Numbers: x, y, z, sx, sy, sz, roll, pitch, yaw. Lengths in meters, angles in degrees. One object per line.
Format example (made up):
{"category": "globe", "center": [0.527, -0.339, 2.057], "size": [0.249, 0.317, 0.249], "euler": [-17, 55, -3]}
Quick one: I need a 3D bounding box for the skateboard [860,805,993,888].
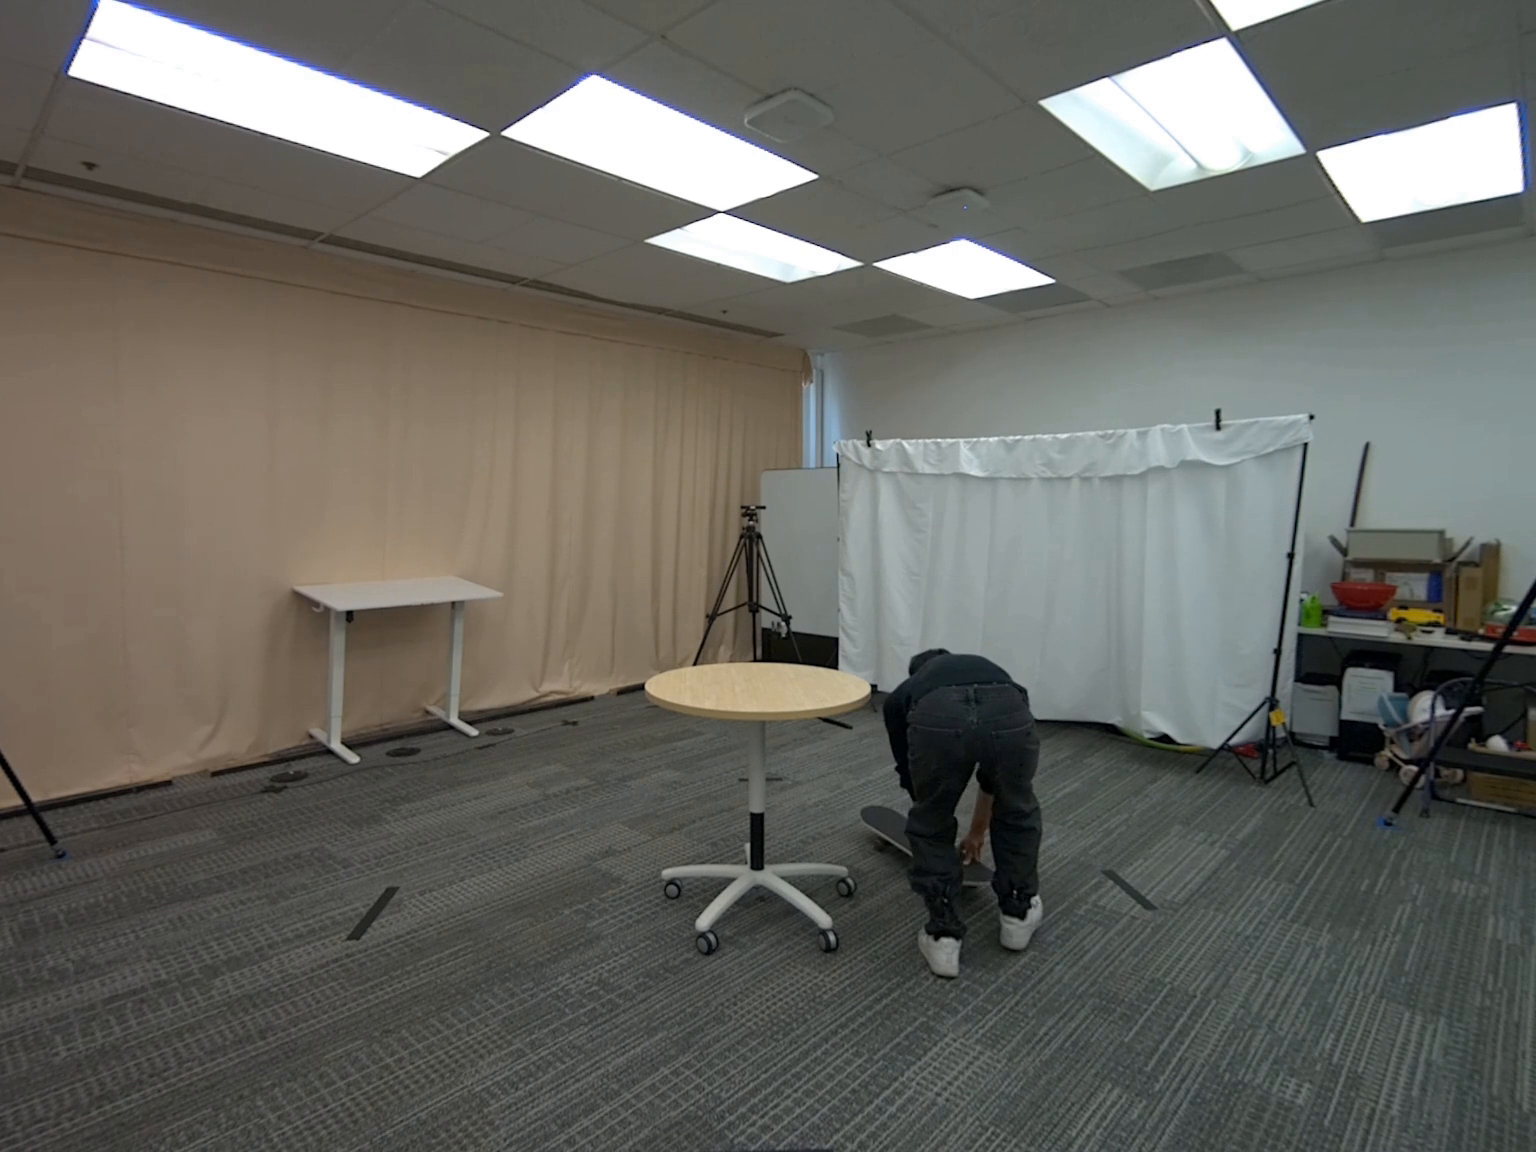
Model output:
{"category": "skateboard", "center": [0.604, 1.065, 3.245], "size": [0.189, 0.110, 0.805], "euler": [-1, 5, -24]}
